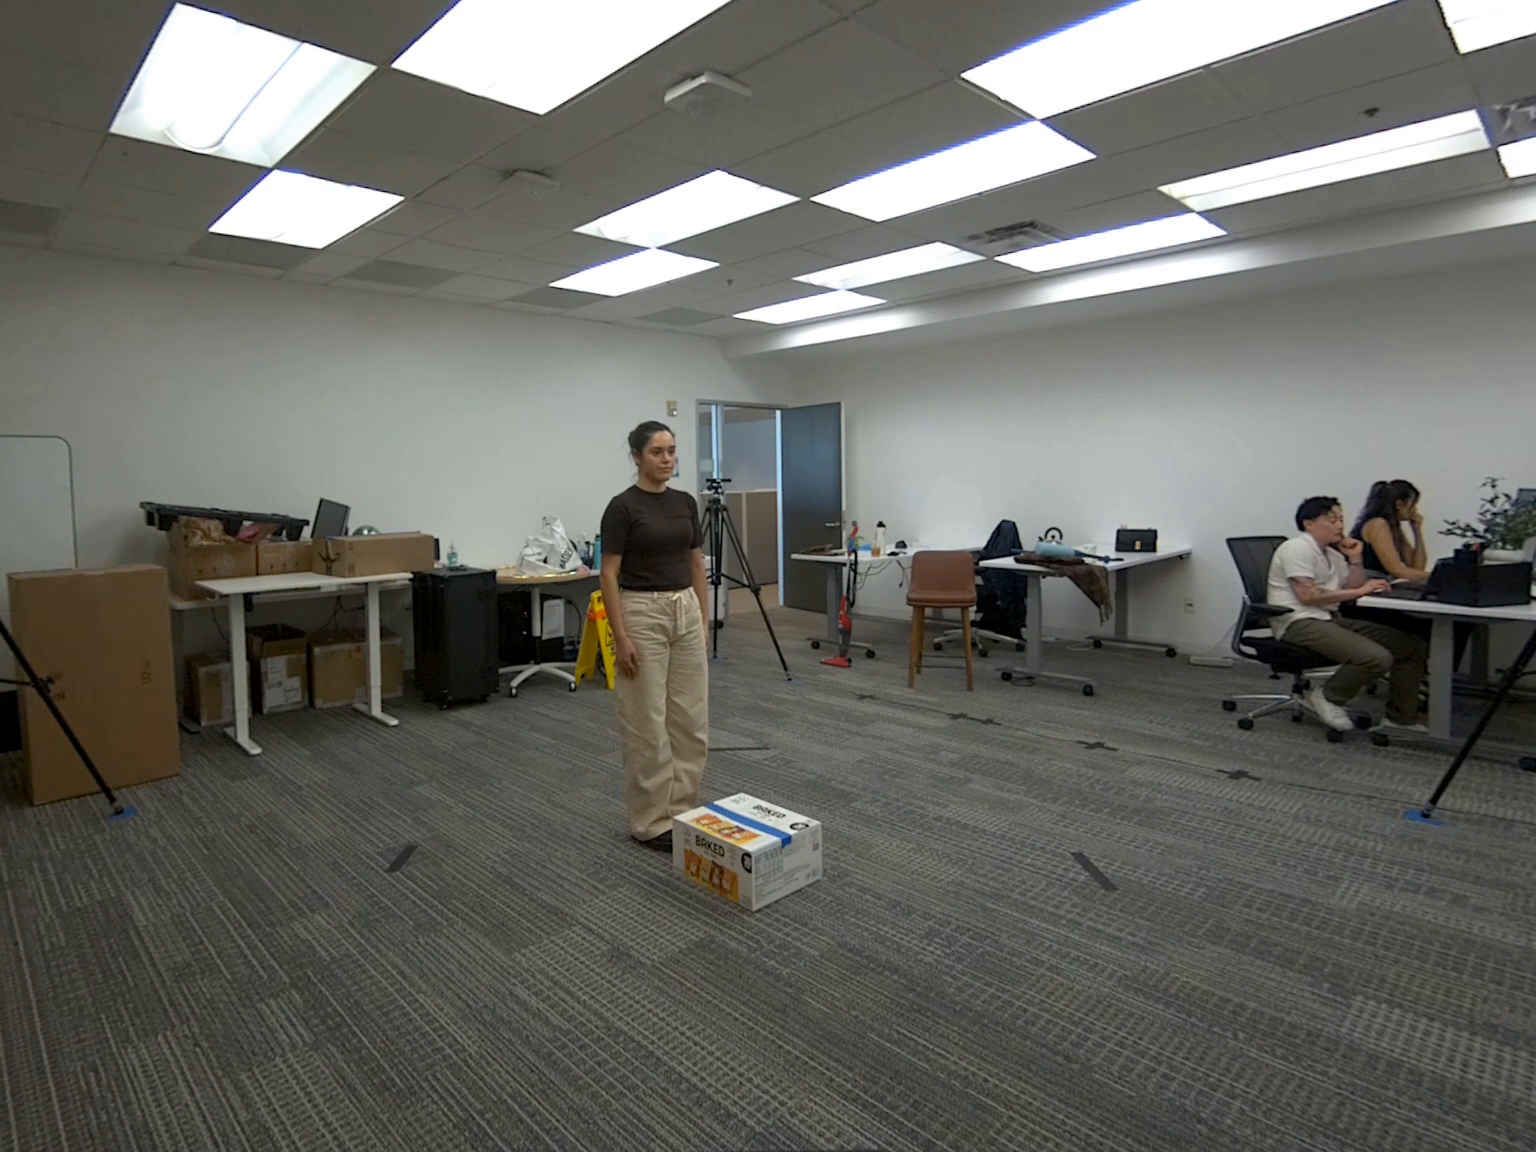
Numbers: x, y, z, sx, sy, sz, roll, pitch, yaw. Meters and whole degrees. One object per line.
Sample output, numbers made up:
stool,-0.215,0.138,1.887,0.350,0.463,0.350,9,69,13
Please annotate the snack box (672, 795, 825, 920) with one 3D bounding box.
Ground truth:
snack box,-0.073,0.964,2.999,0.331,0.205,0.418,-7,8,-43
